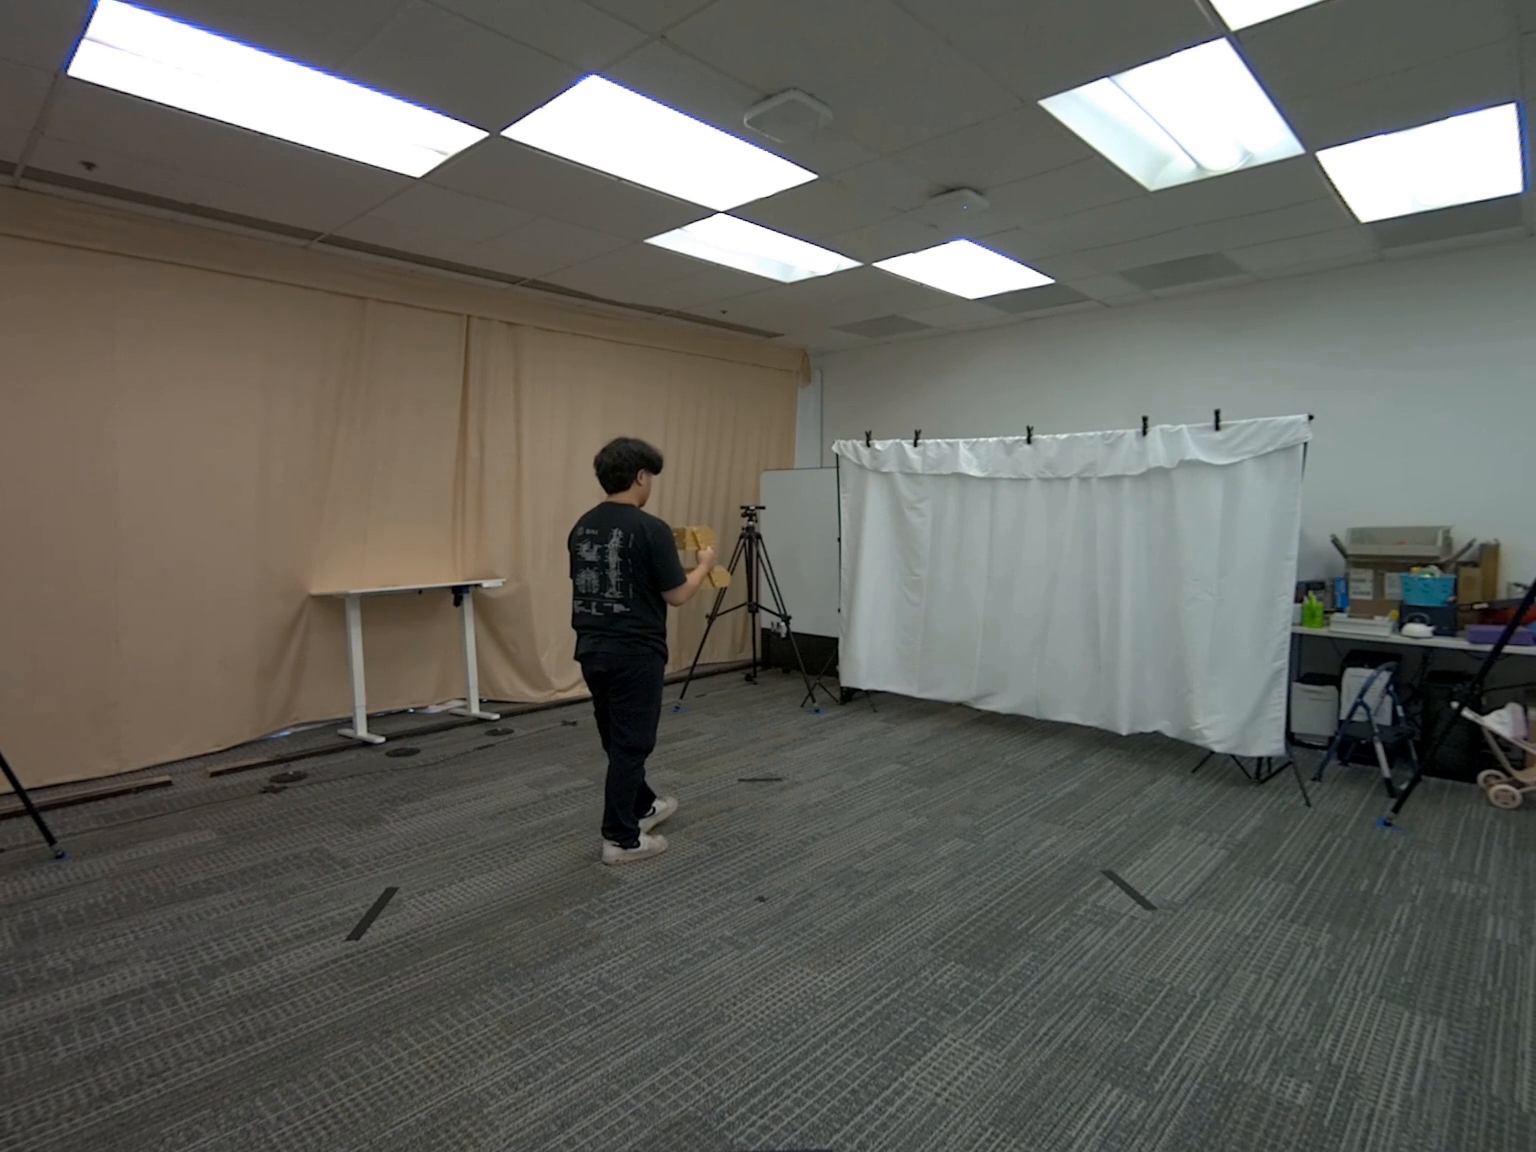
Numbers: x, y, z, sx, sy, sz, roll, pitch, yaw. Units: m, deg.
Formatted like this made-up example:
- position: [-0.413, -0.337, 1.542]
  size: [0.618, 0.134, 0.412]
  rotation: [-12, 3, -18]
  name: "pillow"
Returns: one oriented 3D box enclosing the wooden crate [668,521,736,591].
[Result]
- position: [-0.368, -0.087, 3.607]
  size: [0.334, 0.273, 0.293]
  rotation: [-1, 3, 35]
  name: "wooden crate"
